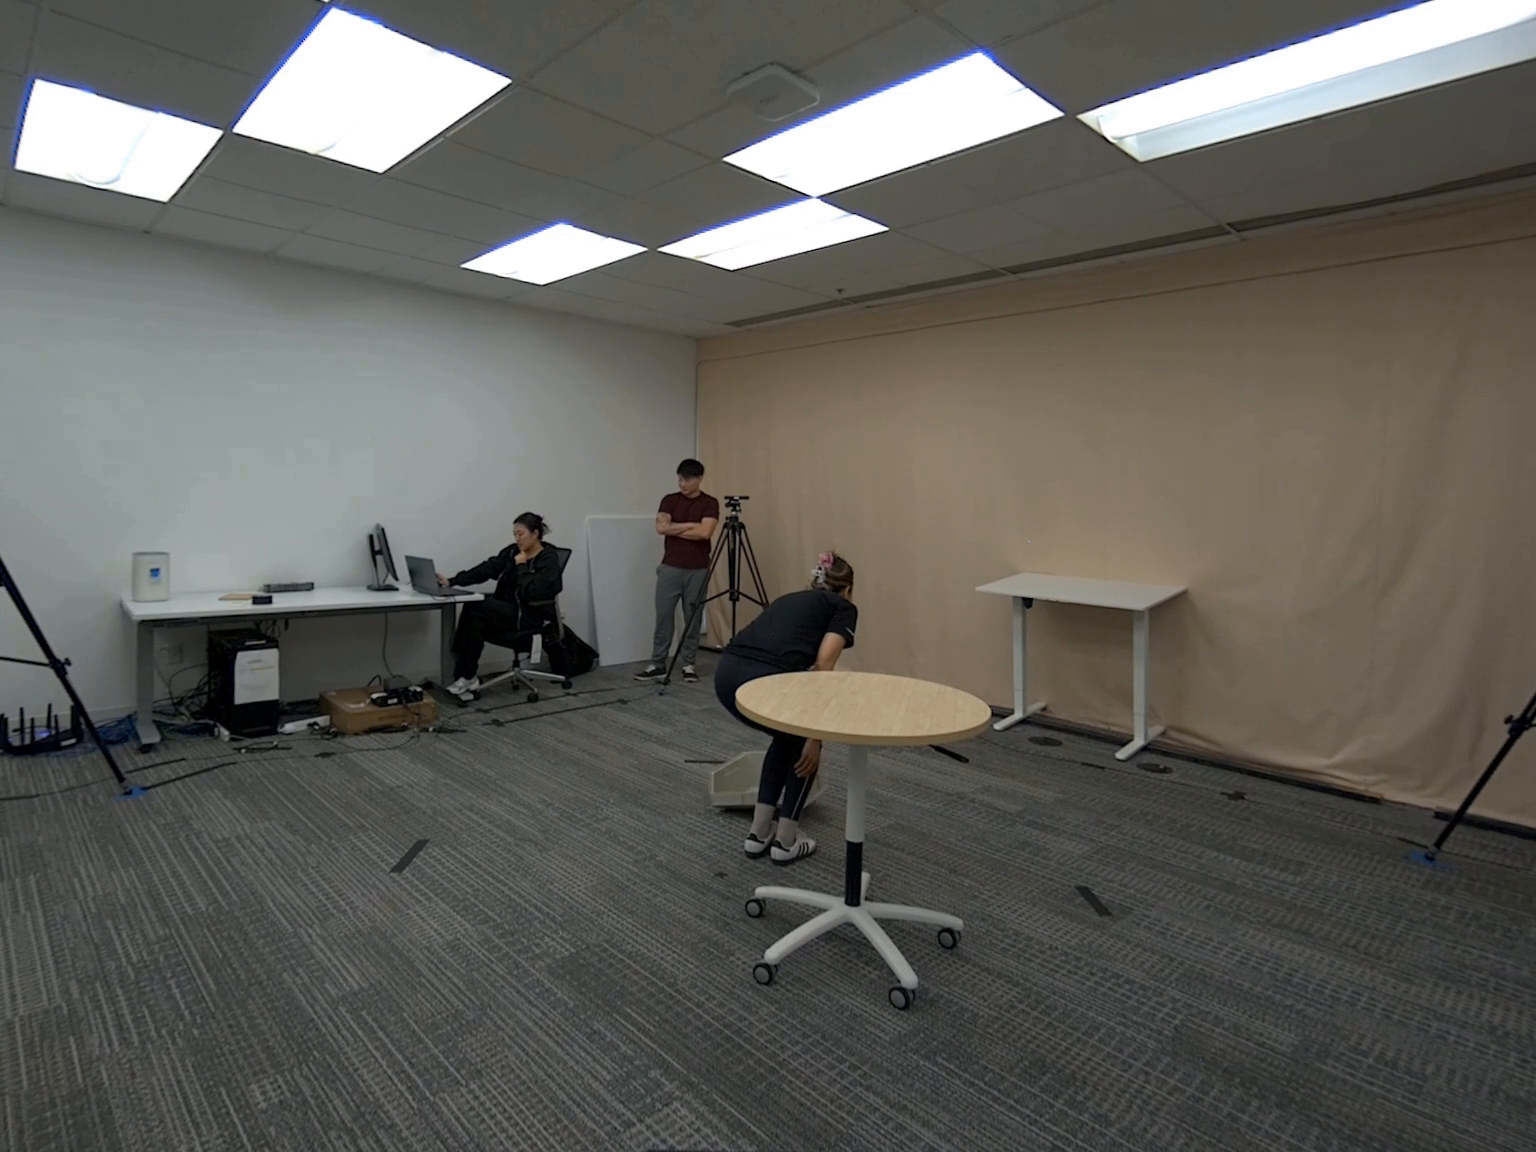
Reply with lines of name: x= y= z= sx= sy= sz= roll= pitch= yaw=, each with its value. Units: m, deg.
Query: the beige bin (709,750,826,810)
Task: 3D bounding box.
beige bin: x=-0.004 y=0.917 z=3.784 sx=0.429 sy=0.189 sz=0.370 roll=-9 pitch=-2 yaw=26
